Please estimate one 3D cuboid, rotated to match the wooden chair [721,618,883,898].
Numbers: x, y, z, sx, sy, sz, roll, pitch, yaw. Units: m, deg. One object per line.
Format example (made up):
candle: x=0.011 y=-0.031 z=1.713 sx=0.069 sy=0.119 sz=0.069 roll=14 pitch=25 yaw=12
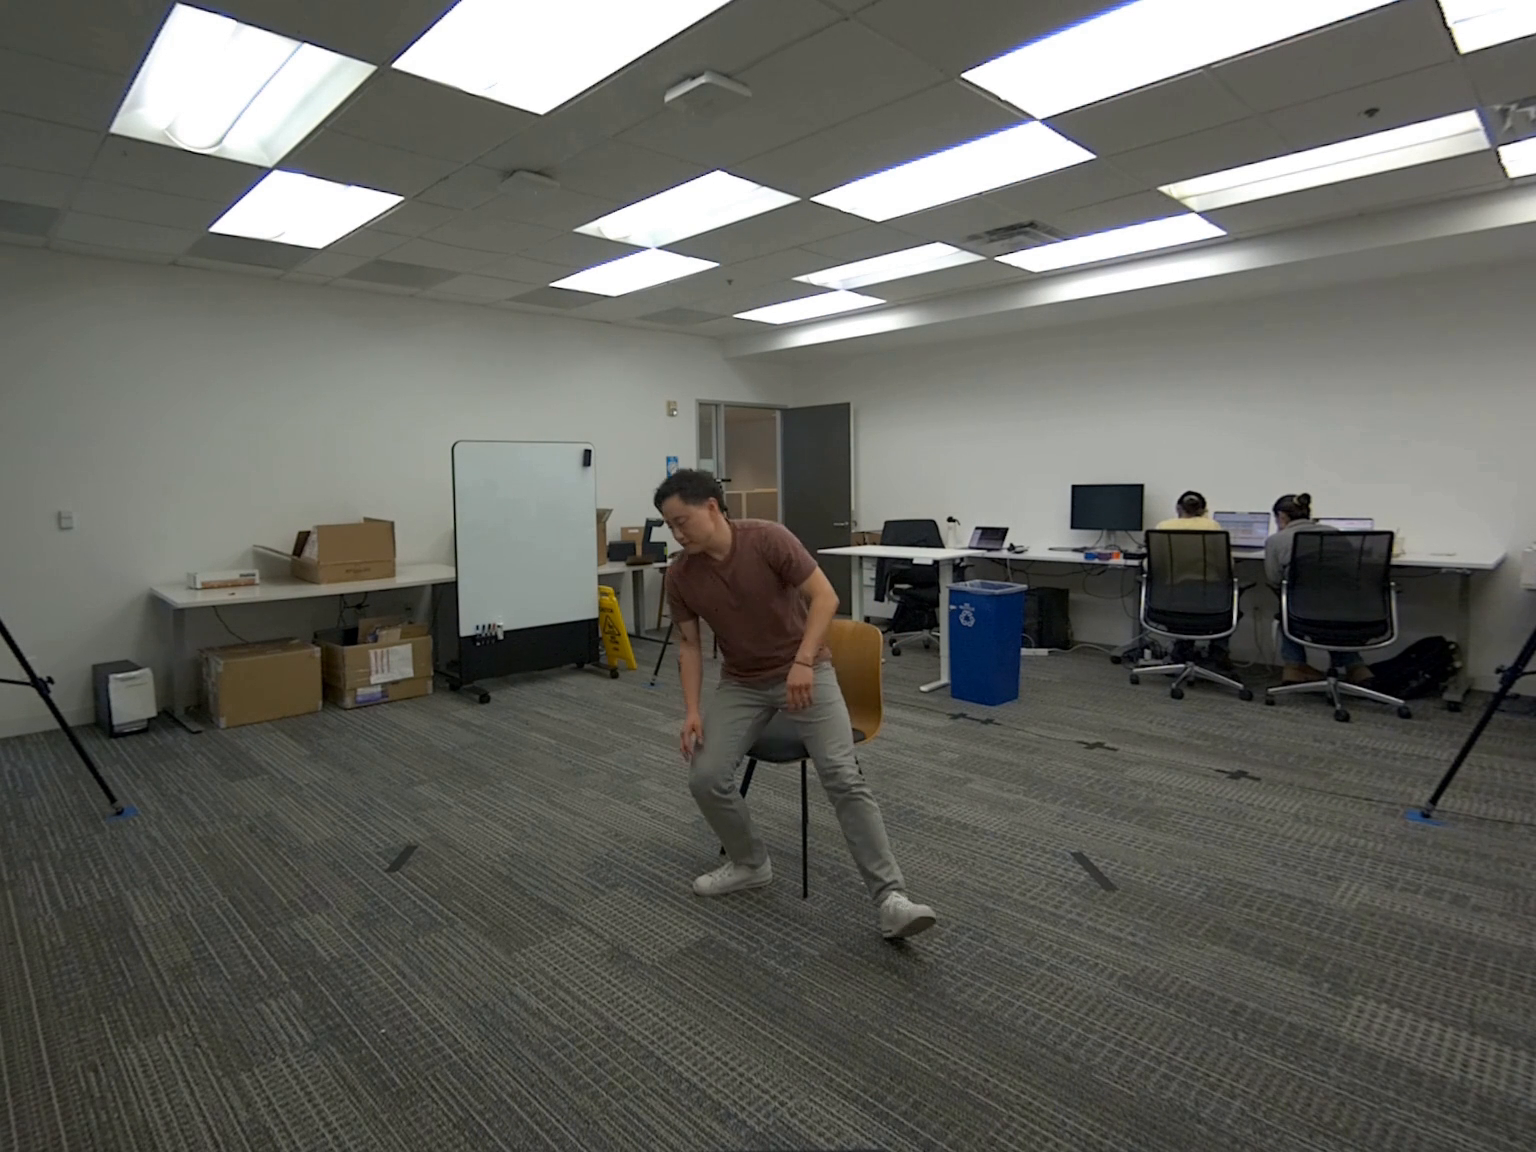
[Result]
wooden chair: x=0.129 y=0.610 z=3.115 sx=0.508 sy=0.876 sz=0.493 roll=1 pitch=2 yaw=-40
